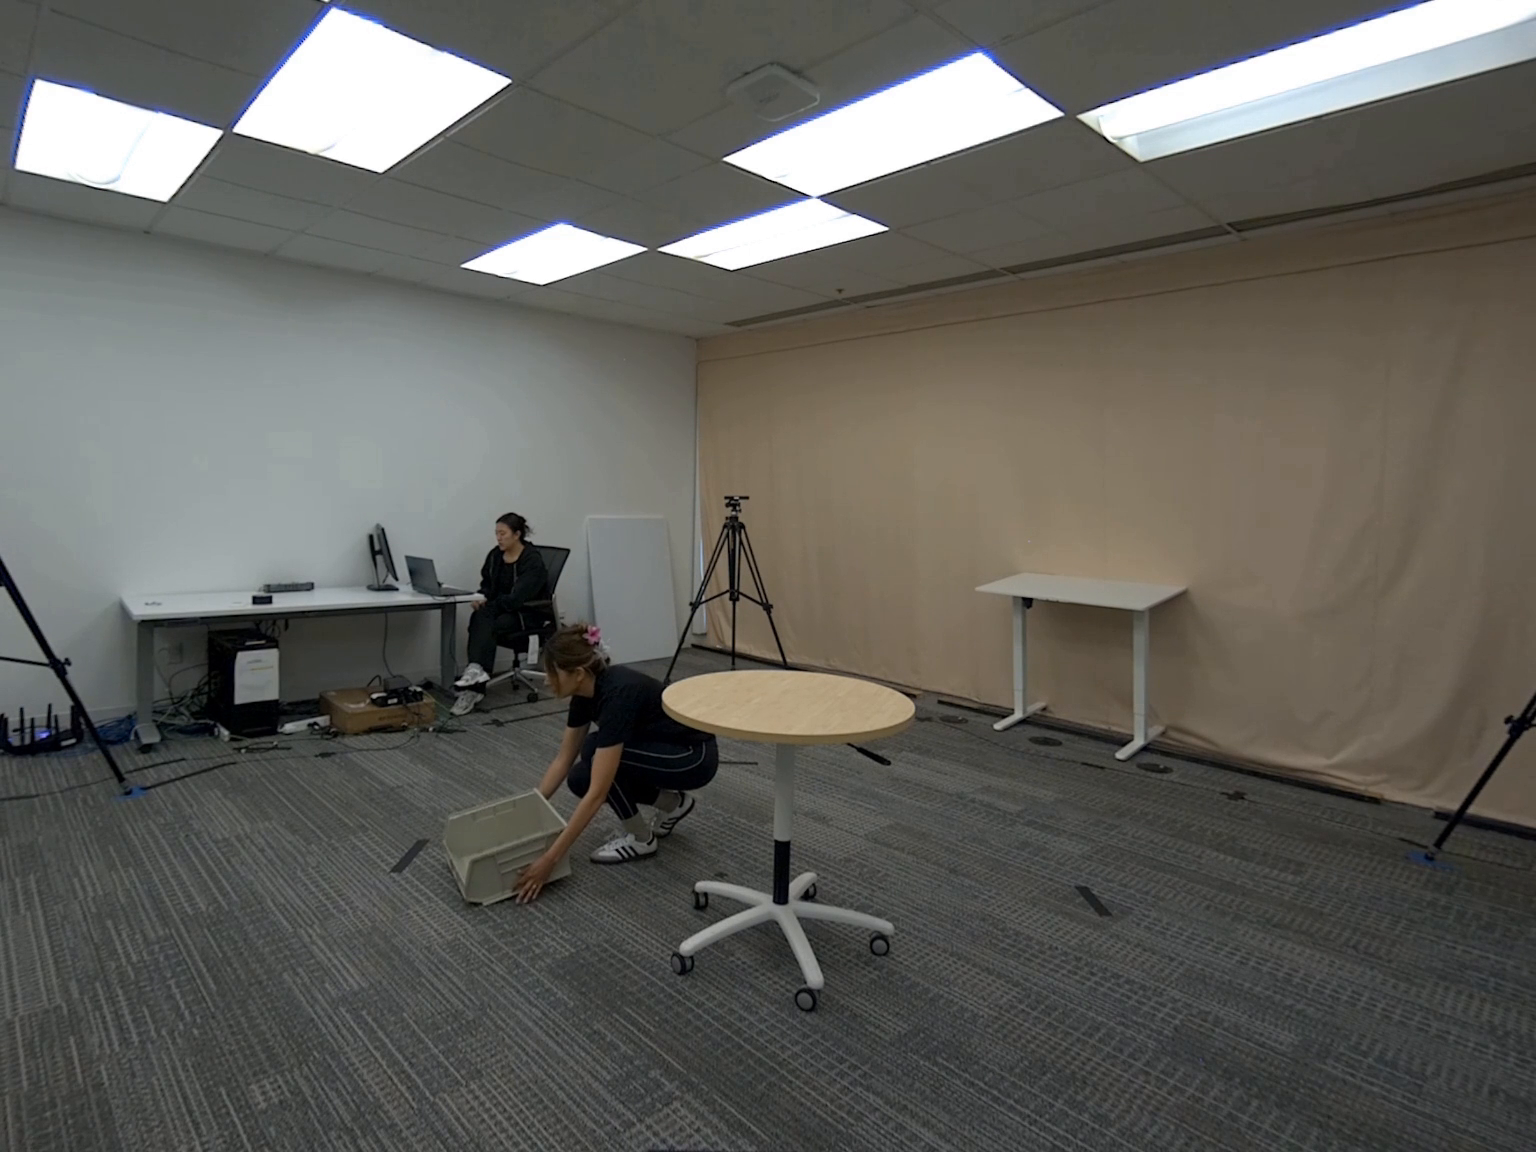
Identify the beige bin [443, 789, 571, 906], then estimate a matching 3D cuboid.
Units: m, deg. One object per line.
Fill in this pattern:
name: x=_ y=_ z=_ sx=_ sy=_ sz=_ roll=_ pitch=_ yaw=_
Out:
beige bin: x=-0.967 y=0.979 z=3.053 sx=0.371 sy=0.188 sz=0.432 roll=-9 pitch=9 yaw=-29
